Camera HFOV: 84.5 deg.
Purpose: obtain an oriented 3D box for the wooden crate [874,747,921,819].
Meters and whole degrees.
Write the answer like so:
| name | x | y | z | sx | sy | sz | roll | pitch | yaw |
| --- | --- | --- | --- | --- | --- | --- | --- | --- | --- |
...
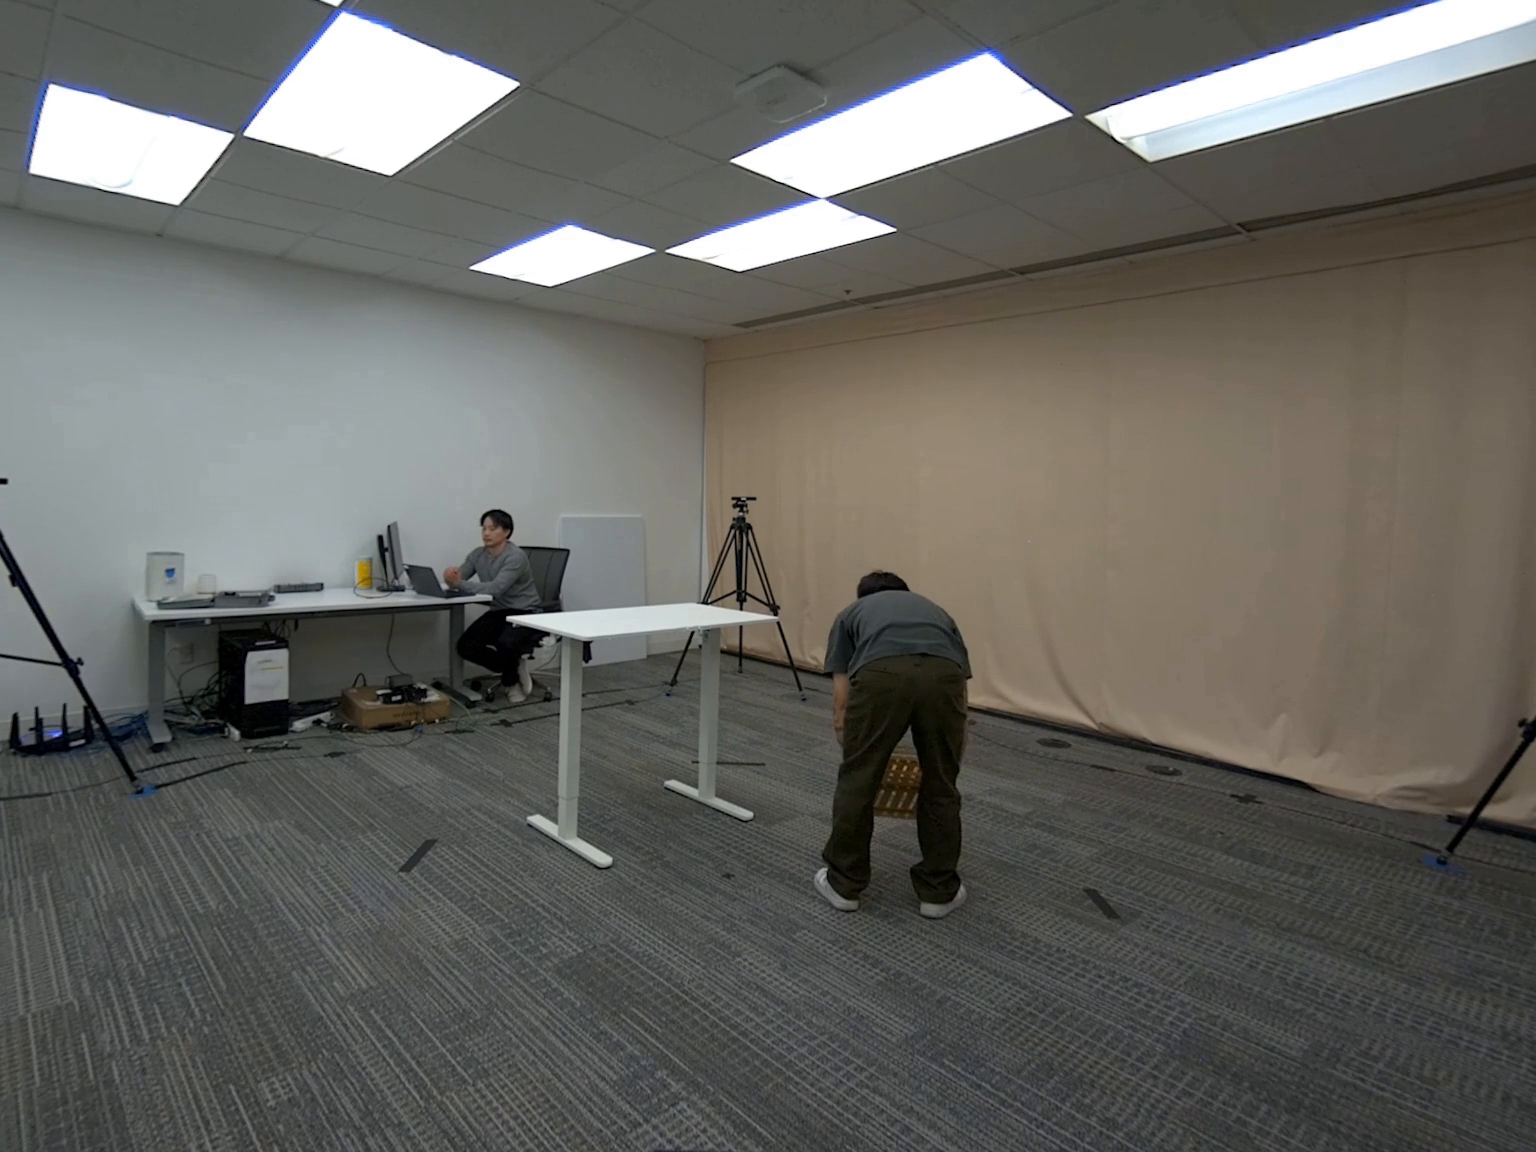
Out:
| name | x | y | z | sx | sy | sz | roll | pitch | yaw |
| --- | --- | --- | --- | --- | --- | --- | --- | --- | --- |
| wooden crate | 0.464 | 0.742 | 3.188 | 0.325 | 0.296 | 0.278 | 5 | 41 | 1 |
